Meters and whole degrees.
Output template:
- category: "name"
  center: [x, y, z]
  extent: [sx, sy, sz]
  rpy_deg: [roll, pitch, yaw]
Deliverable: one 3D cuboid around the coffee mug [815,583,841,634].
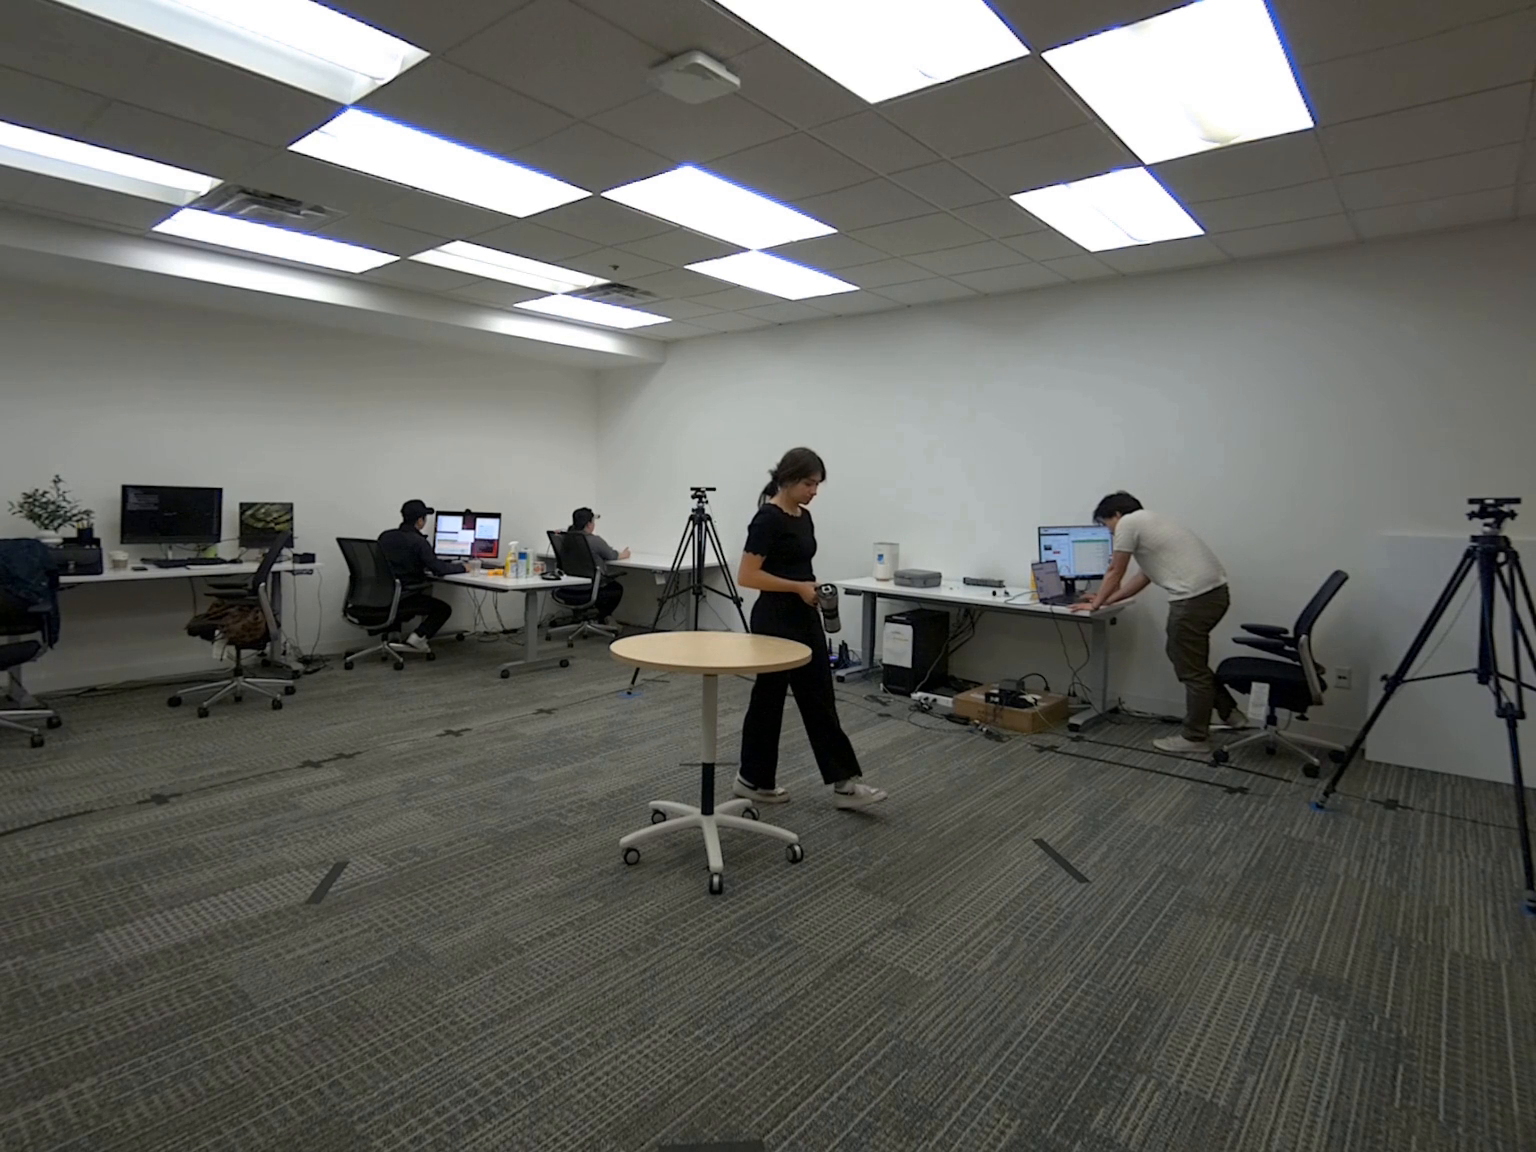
- category: "coffee mug"
  center: [0.236, 0.131, 3.579]
  extent: [0.087, 0.197, 0.127]
  rpy_deg: [-28, 37, -25]
